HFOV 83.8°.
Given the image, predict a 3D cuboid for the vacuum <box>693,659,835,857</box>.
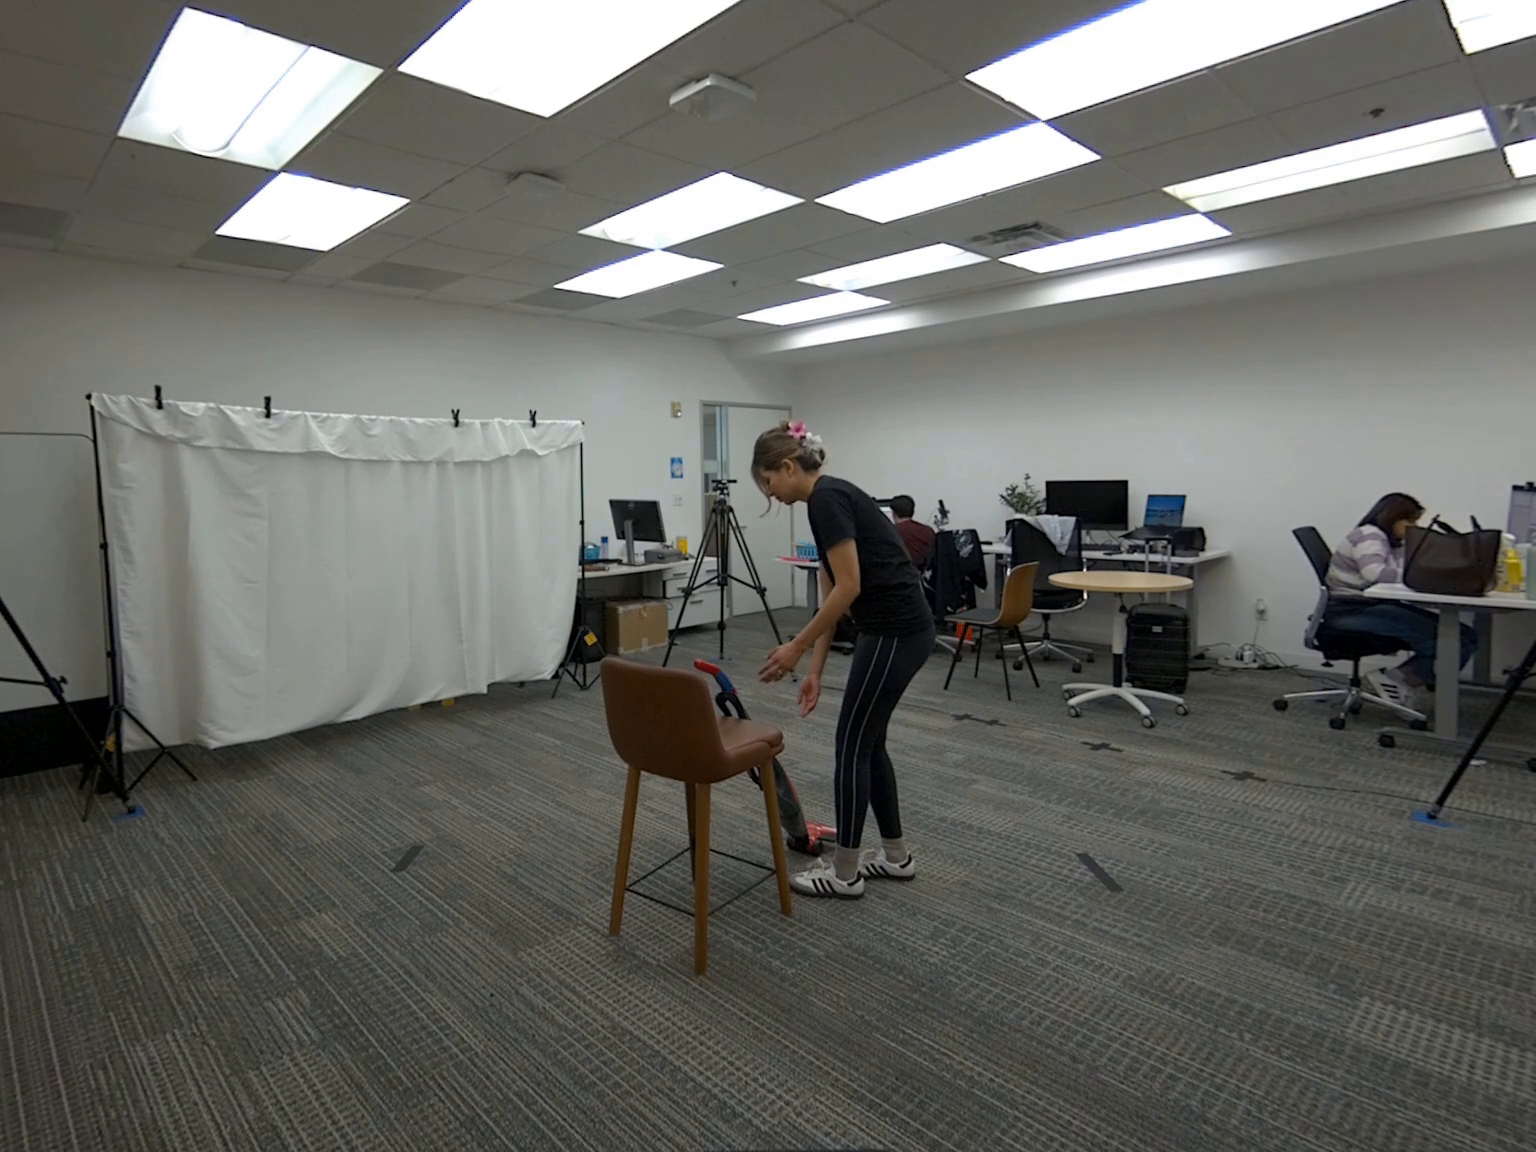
[{"bbox_3d":[-0.021,0.638,2.960,0.260,1.013,0.145,3,46,36],"label":"vacuum"}]
